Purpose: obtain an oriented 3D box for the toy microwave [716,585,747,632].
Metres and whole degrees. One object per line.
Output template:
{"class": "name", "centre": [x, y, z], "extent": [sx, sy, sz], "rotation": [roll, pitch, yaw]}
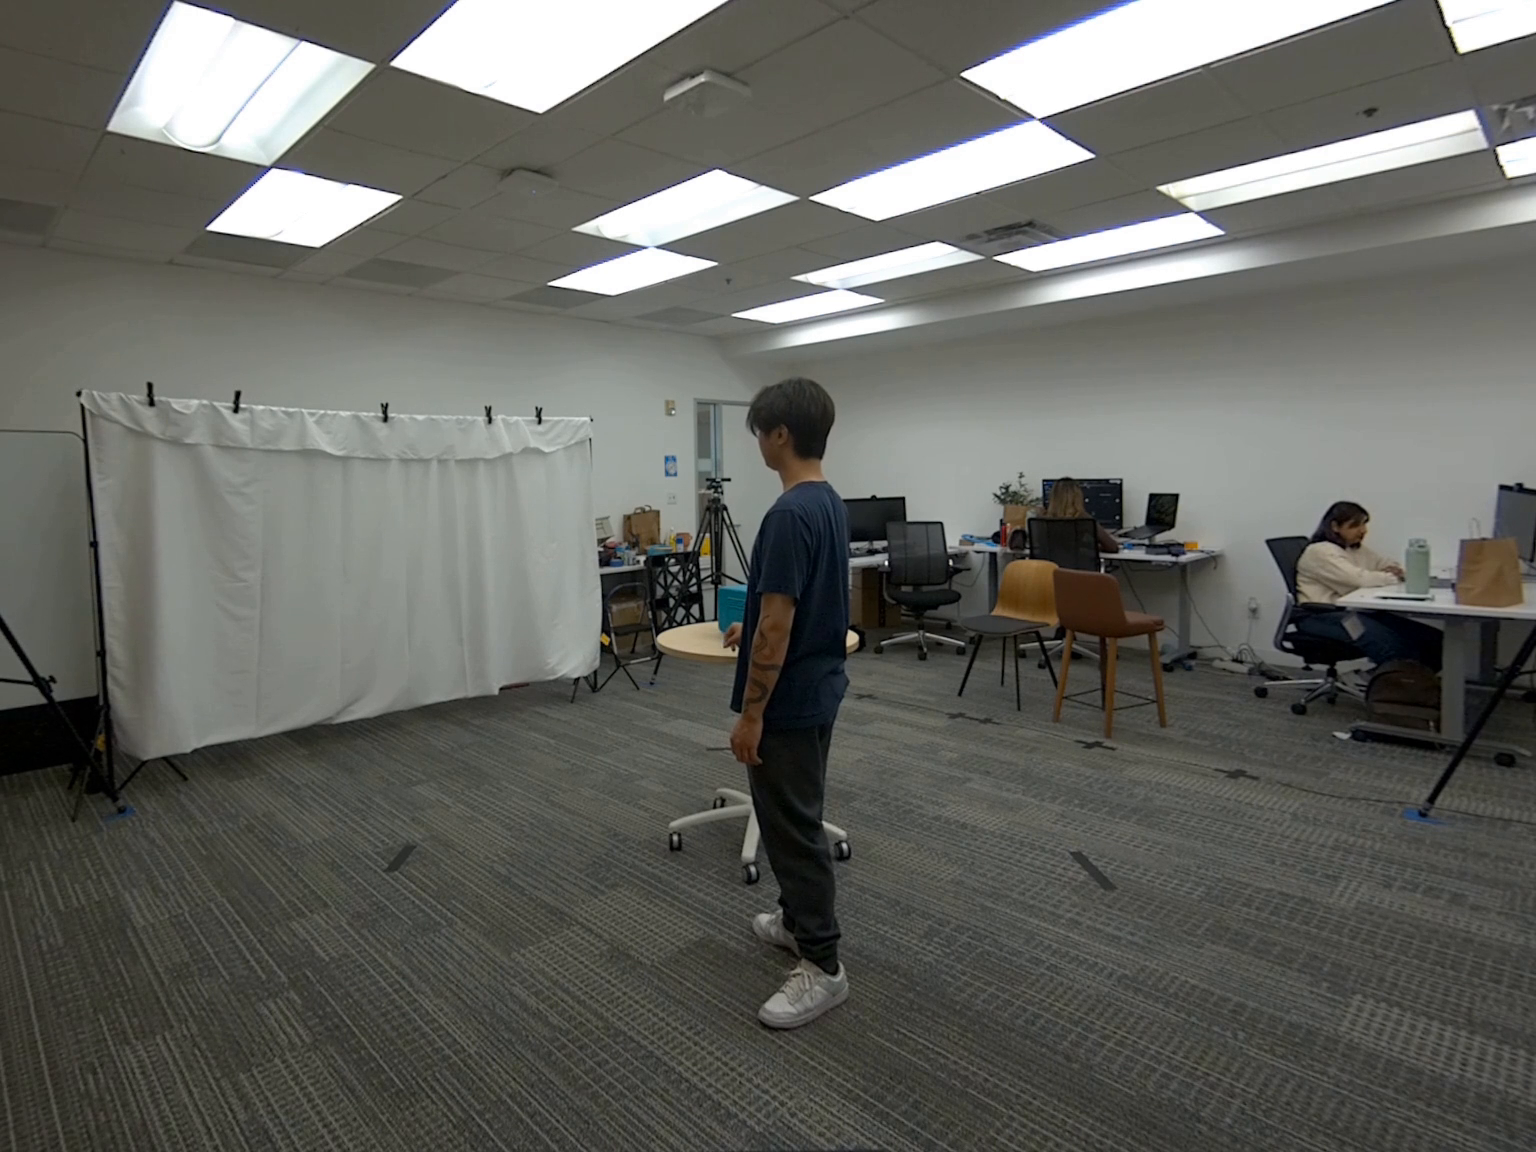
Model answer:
{"class": "toy microwave", "centre": [-0.051, 0.138, 3.267], "extent": [0.148, 0.183, 0.295], "rotation": [-4, 7, -37]}
